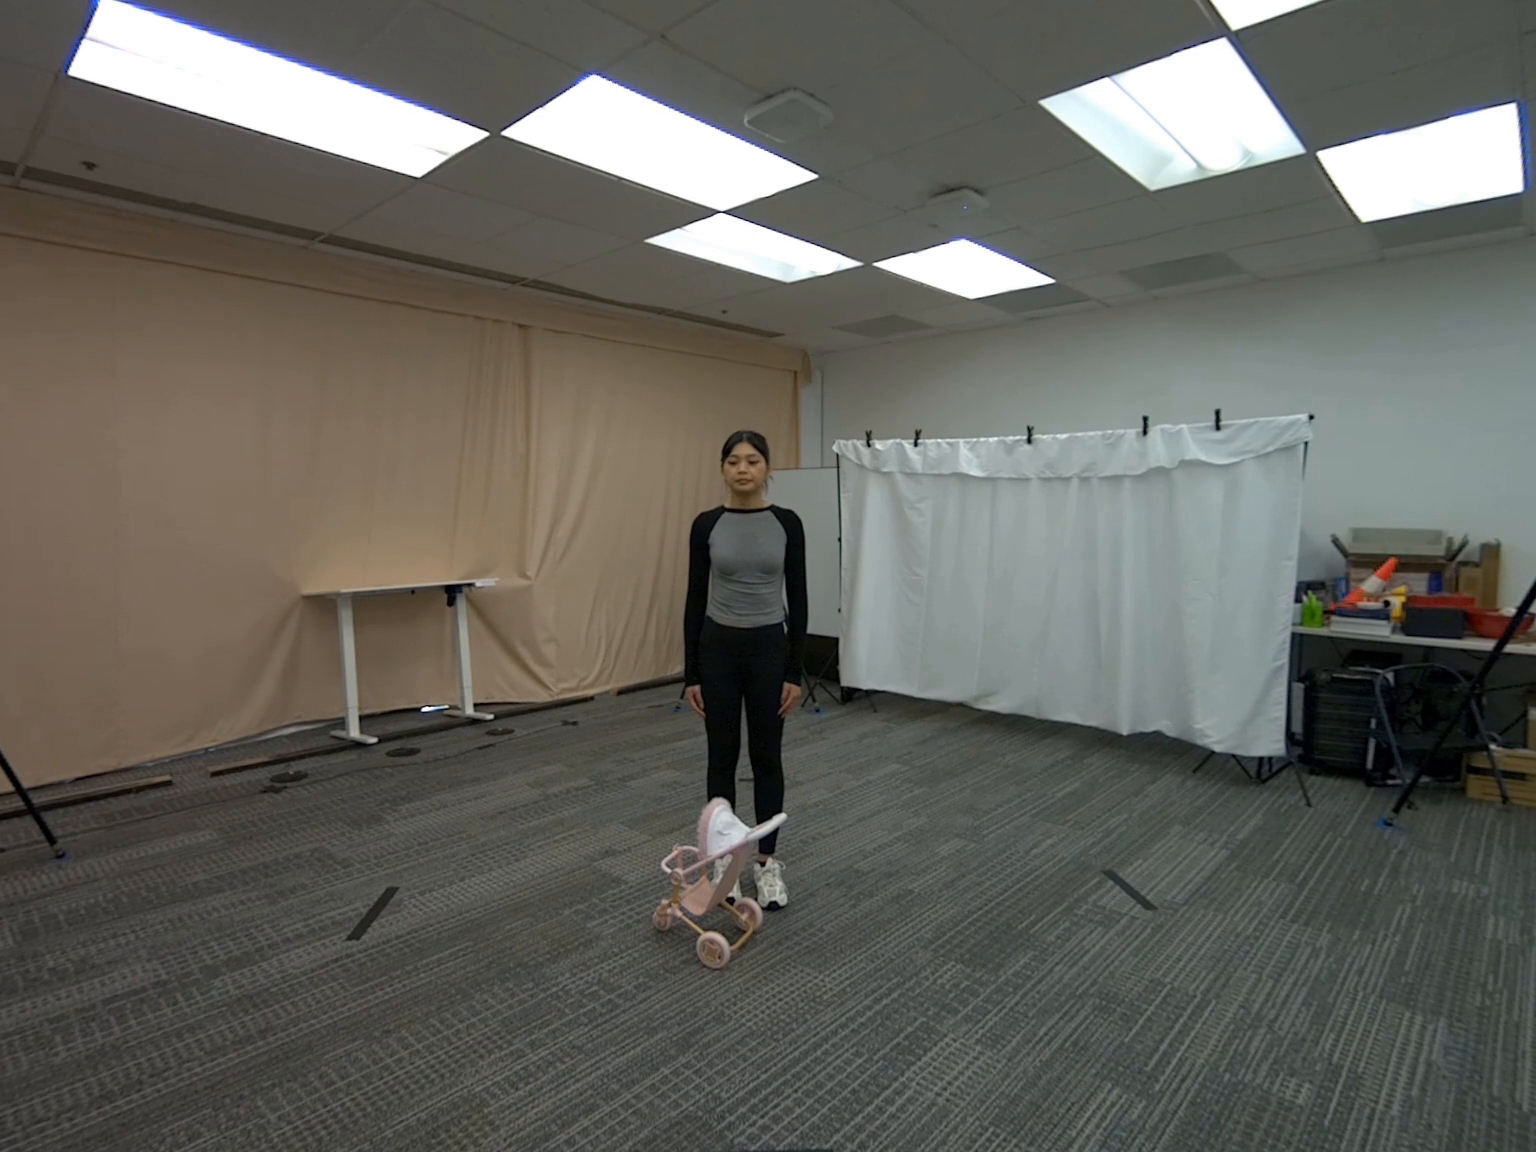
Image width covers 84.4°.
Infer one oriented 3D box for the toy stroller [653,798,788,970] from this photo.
[{"bbox_3d":[-0.173,0.946,2.670,0.352,0.533,0.274,19,11,28],"label":"toy stroller"}]
